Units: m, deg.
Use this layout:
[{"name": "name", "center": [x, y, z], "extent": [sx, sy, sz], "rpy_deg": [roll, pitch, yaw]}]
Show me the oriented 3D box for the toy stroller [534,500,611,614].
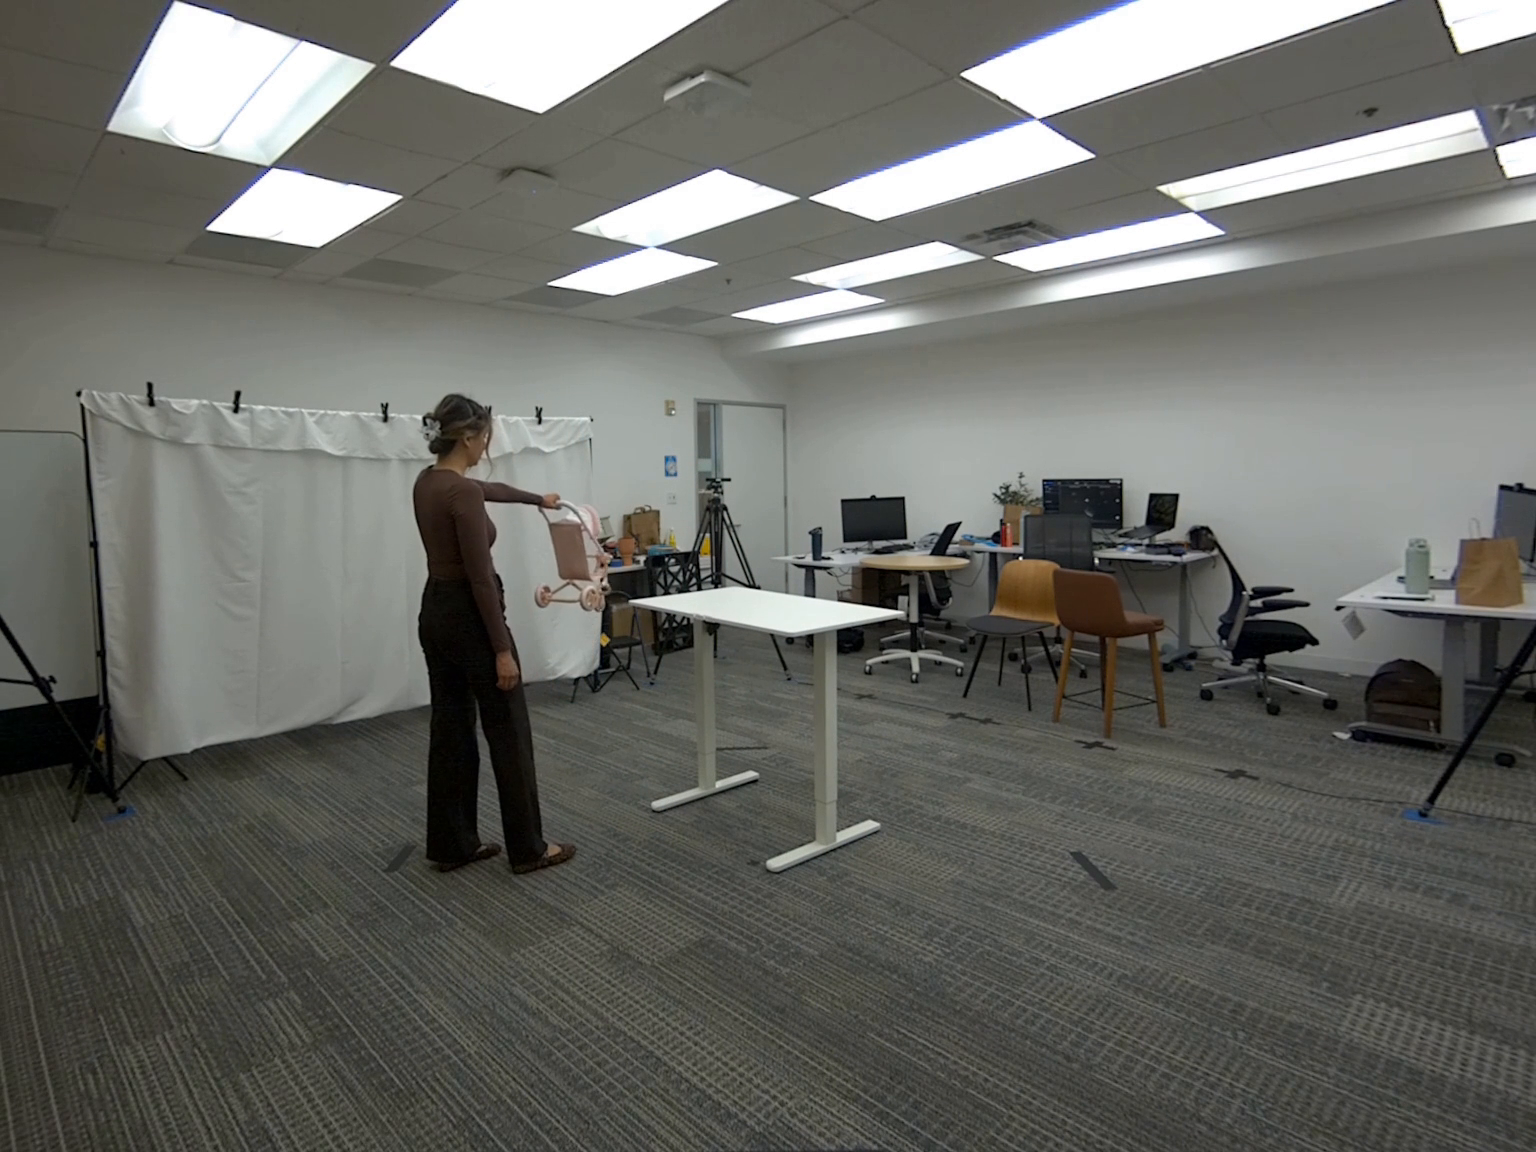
[{"name": "toy stroller", "center": [-0.843, -0.077, 3.813], "extent": [0.289, 0.532, 0.334], "rpy_deg": [1, 7, 30]}]
